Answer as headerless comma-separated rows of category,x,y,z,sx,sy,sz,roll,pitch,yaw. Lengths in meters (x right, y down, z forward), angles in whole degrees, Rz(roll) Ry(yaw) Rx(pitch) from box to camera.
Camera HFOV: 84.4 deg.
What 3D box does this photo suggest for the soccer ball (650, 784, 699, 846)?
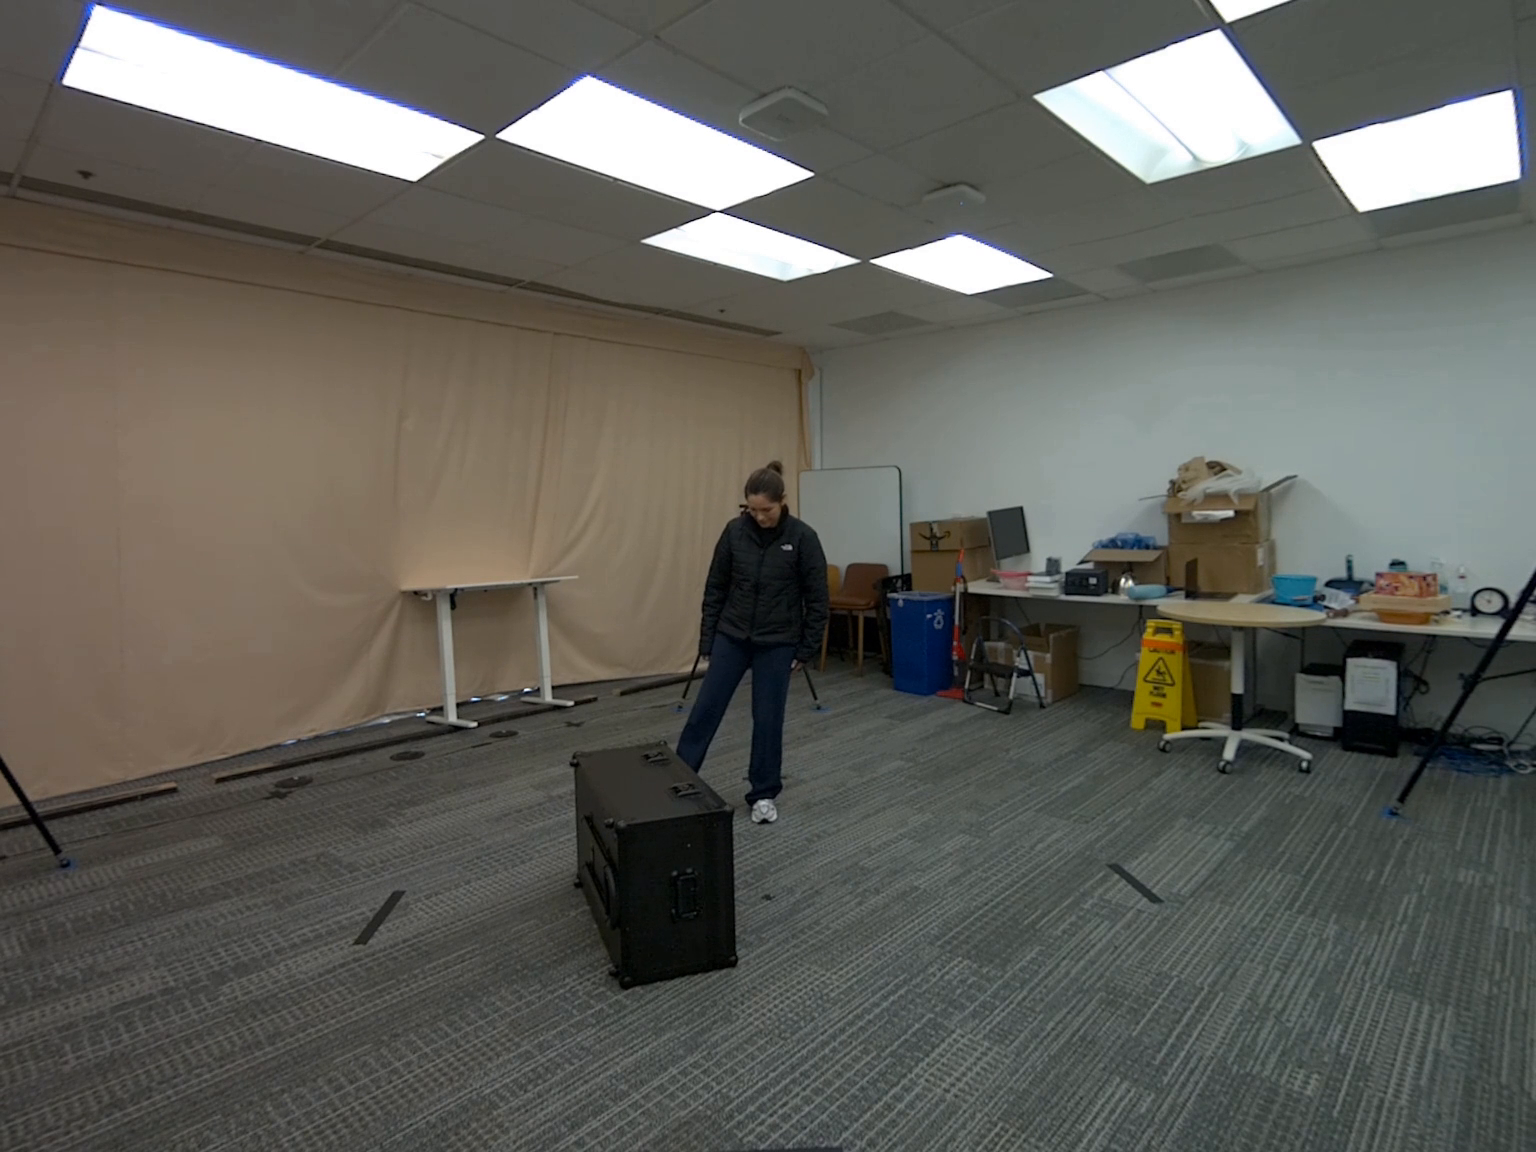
soccer ball,-0.392,0.996,3.549,0.187,0.187,0.188,-1,4,-2
